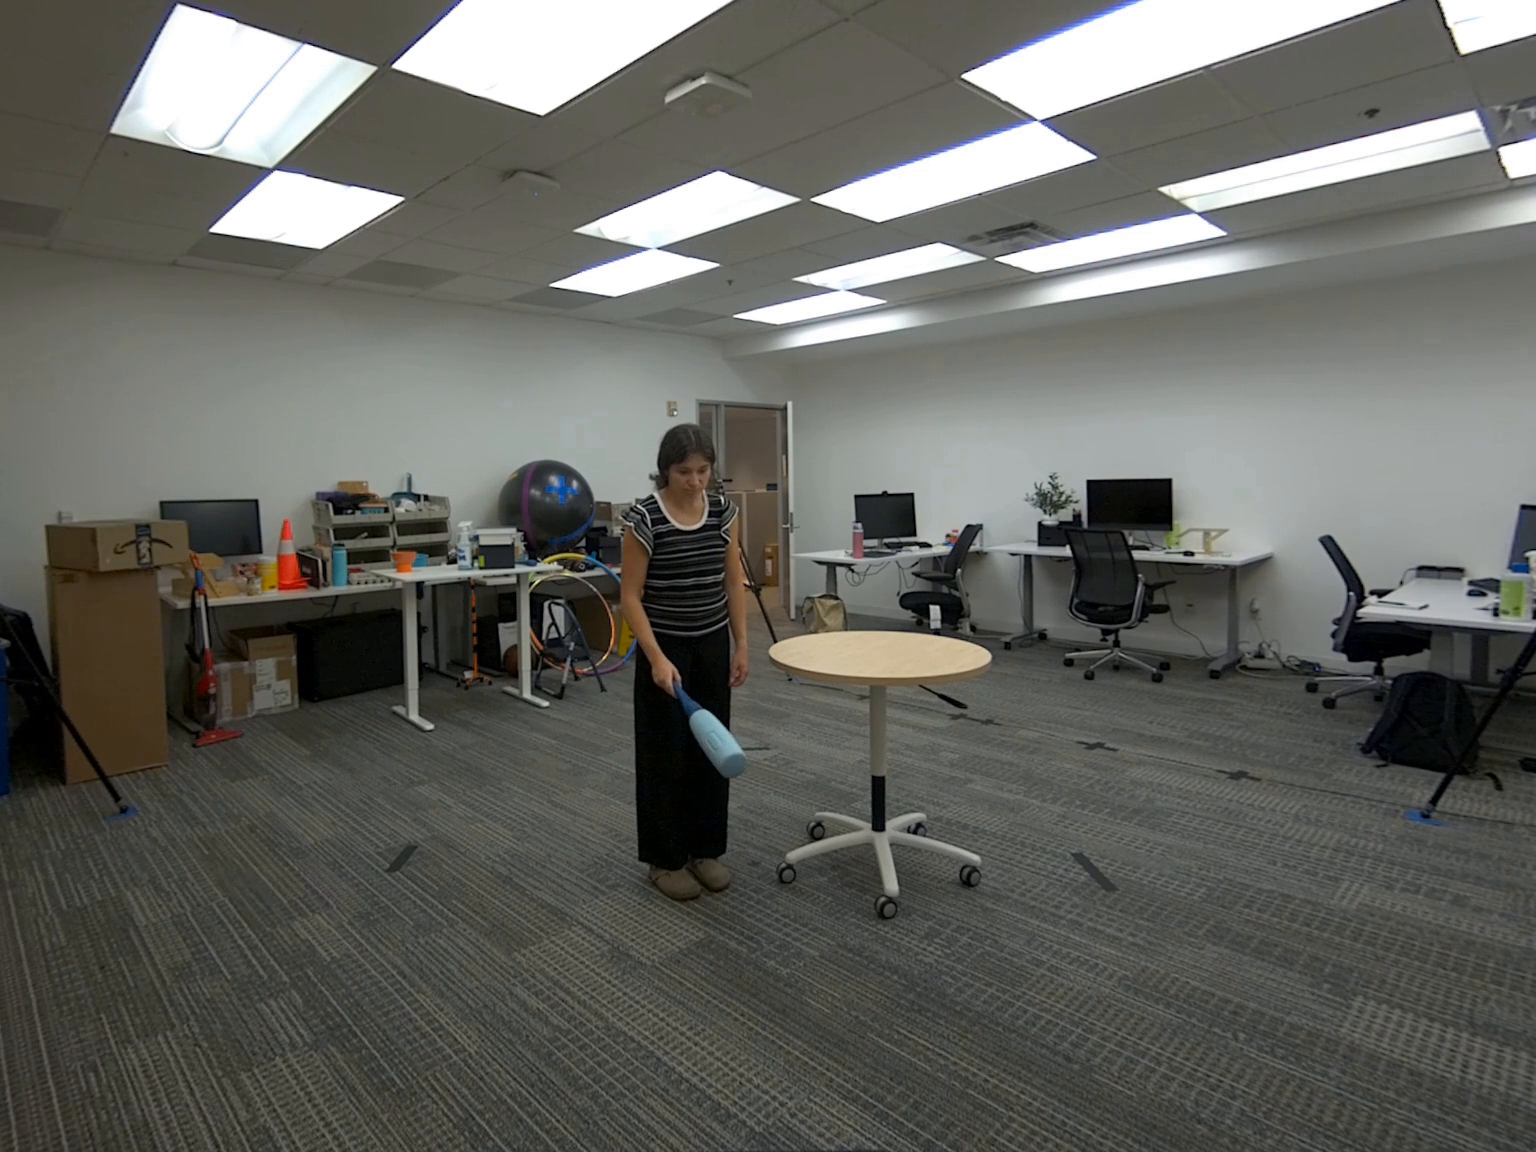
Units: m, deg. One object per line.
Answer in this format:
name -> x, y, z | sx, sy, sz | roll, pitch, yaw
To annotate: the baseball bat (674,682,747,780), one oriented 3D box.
baseball bat -> -0.216, 0.437, 2.542 | 0.087, 0.088, 0.562 | -3, 20, -25
